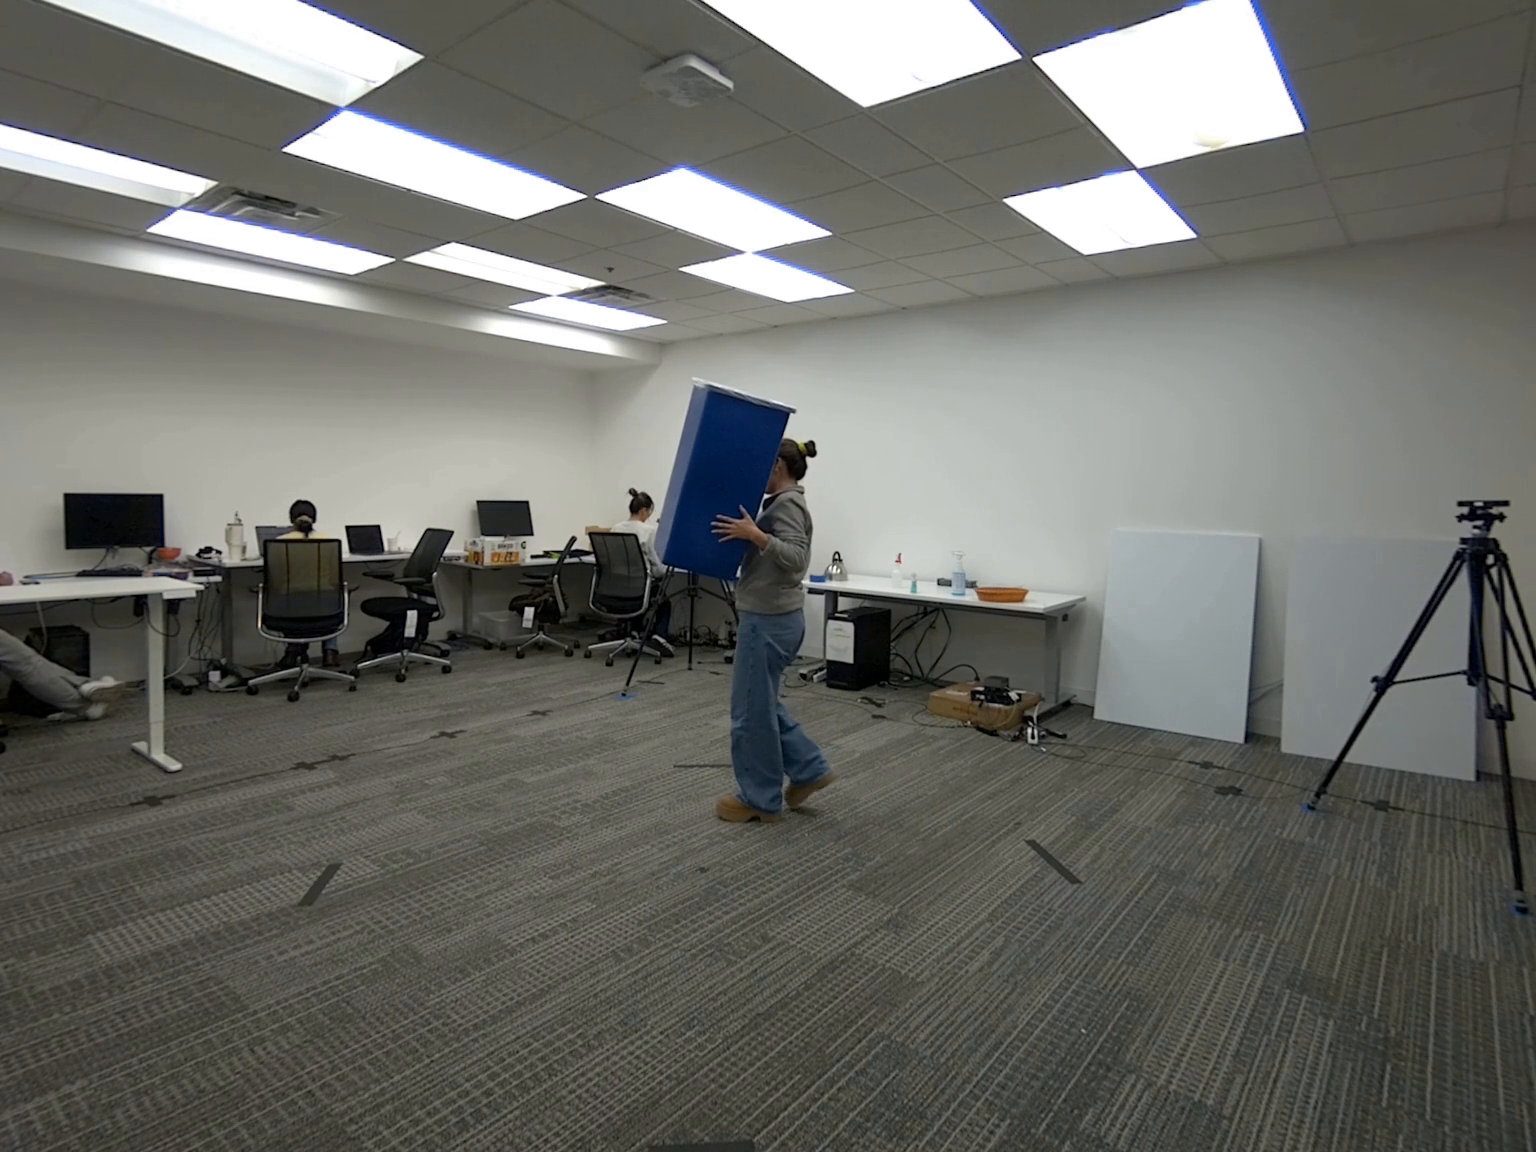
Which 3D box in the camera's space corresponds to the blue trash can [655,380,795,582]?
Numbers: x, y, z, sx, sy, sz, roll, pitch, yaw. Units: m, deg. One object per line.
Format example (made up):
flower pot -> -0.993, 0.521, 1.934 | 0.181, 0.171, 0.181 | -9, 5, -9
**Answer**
blue trash can -> -0.214, -0.395, 3.373 | 0.367, 0.709, 0.388 | 15, 10, -16
